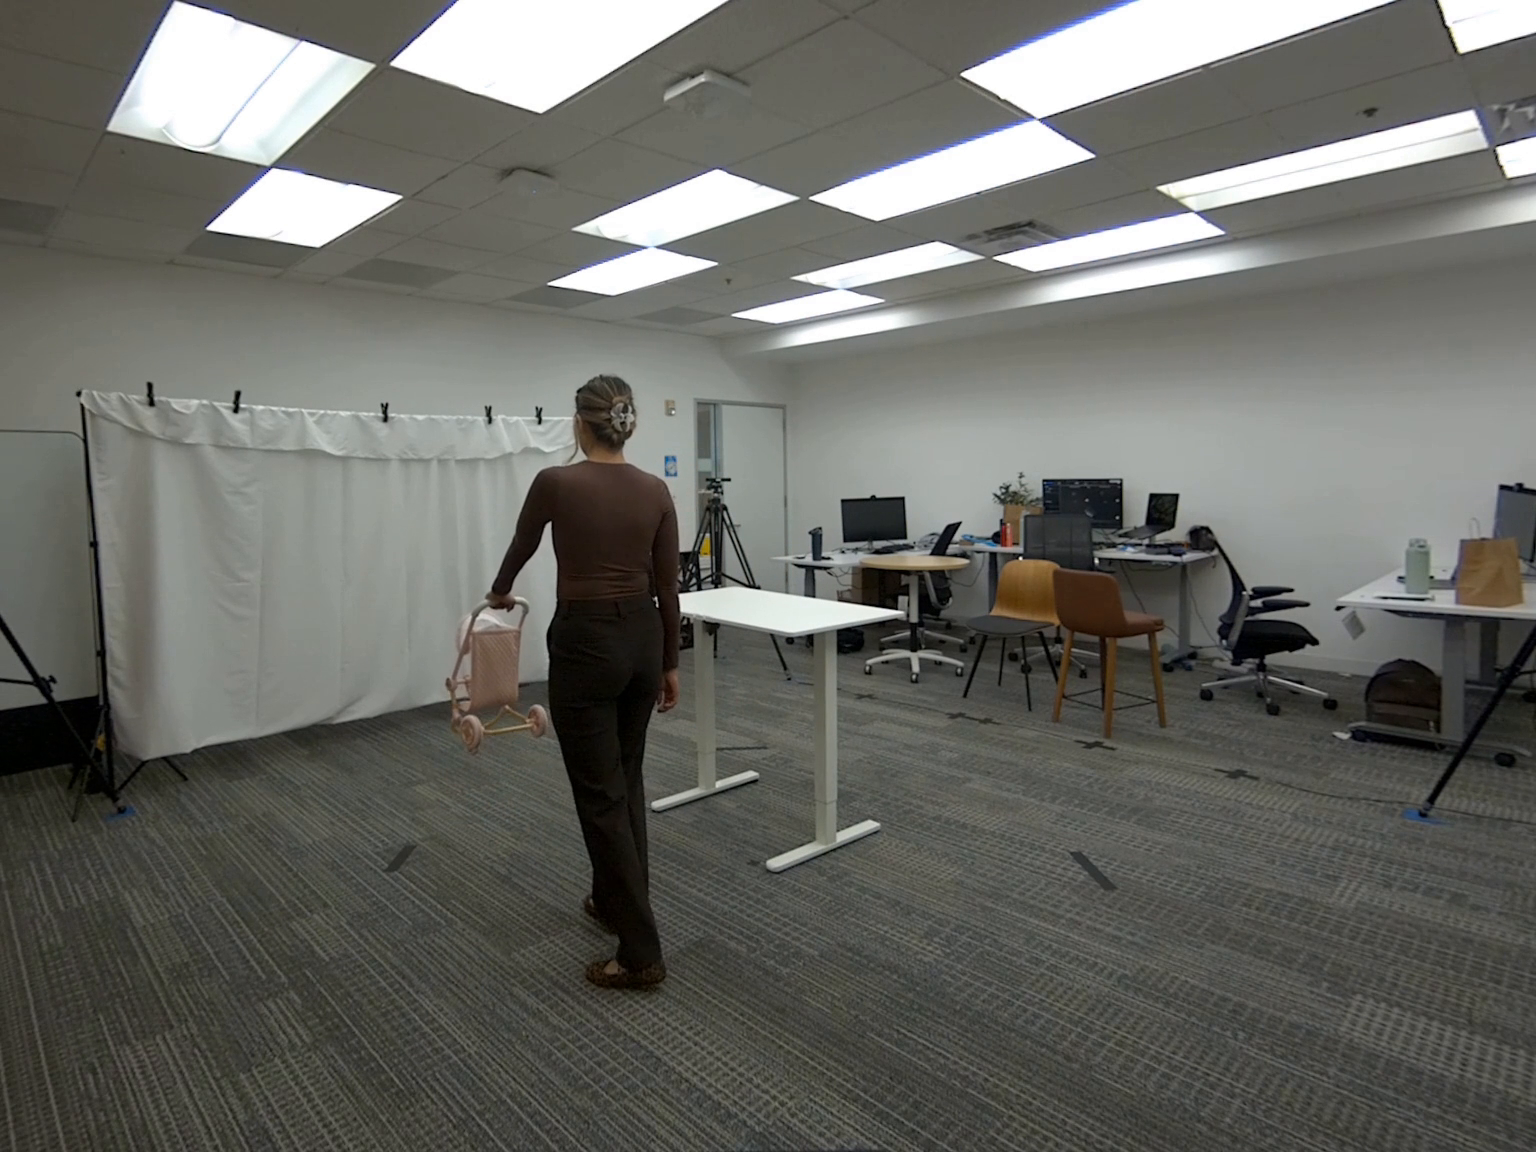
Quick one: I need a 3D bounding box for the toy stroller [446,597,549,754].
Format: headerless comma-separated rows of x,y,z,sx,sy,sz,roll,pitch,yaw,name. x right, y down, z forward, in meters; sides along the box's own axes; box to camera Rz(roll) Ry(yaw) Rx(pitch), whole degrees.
-0.959,0.354,2.947,0.273,0.537,0.350,-2,-4,-42,toy stroller
